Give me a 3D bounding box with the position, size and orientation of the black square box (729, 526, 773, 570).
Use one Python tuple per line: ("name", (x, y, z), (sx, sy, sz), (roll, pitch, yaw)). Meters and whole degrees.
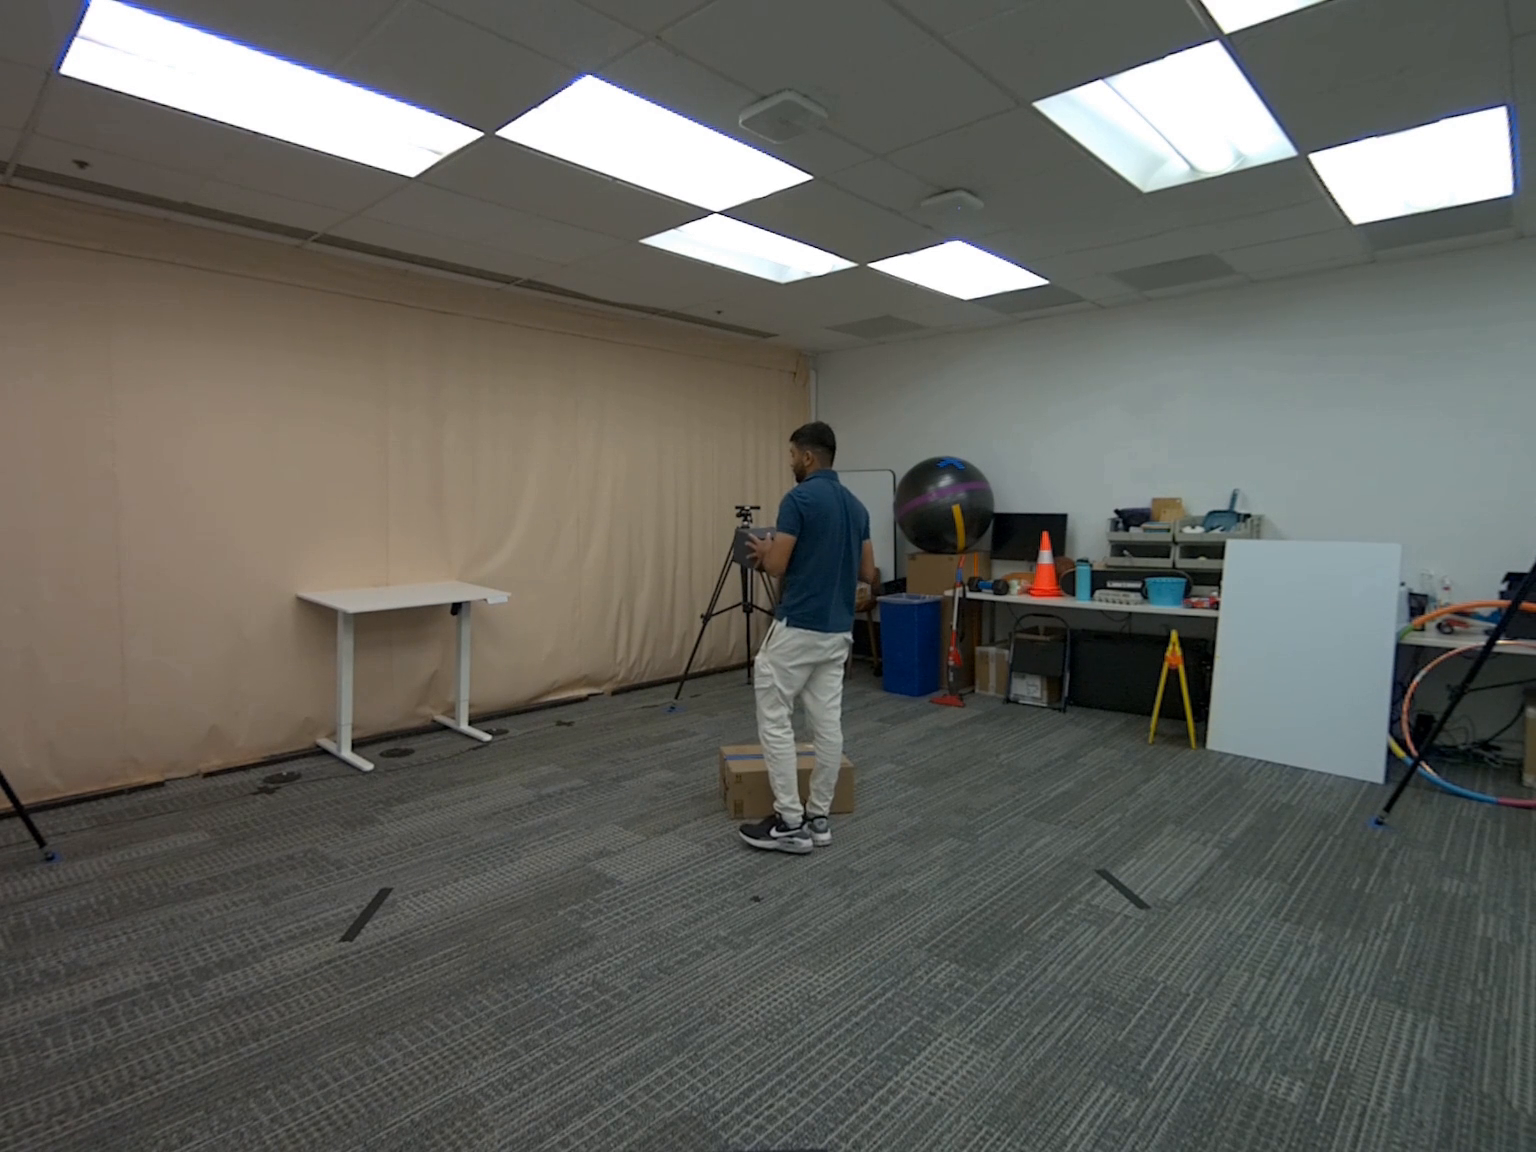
("black square box", (0.001, -0.122, 3.838), (0.221, 0.155, 0.224), (-5, 15, -33))
